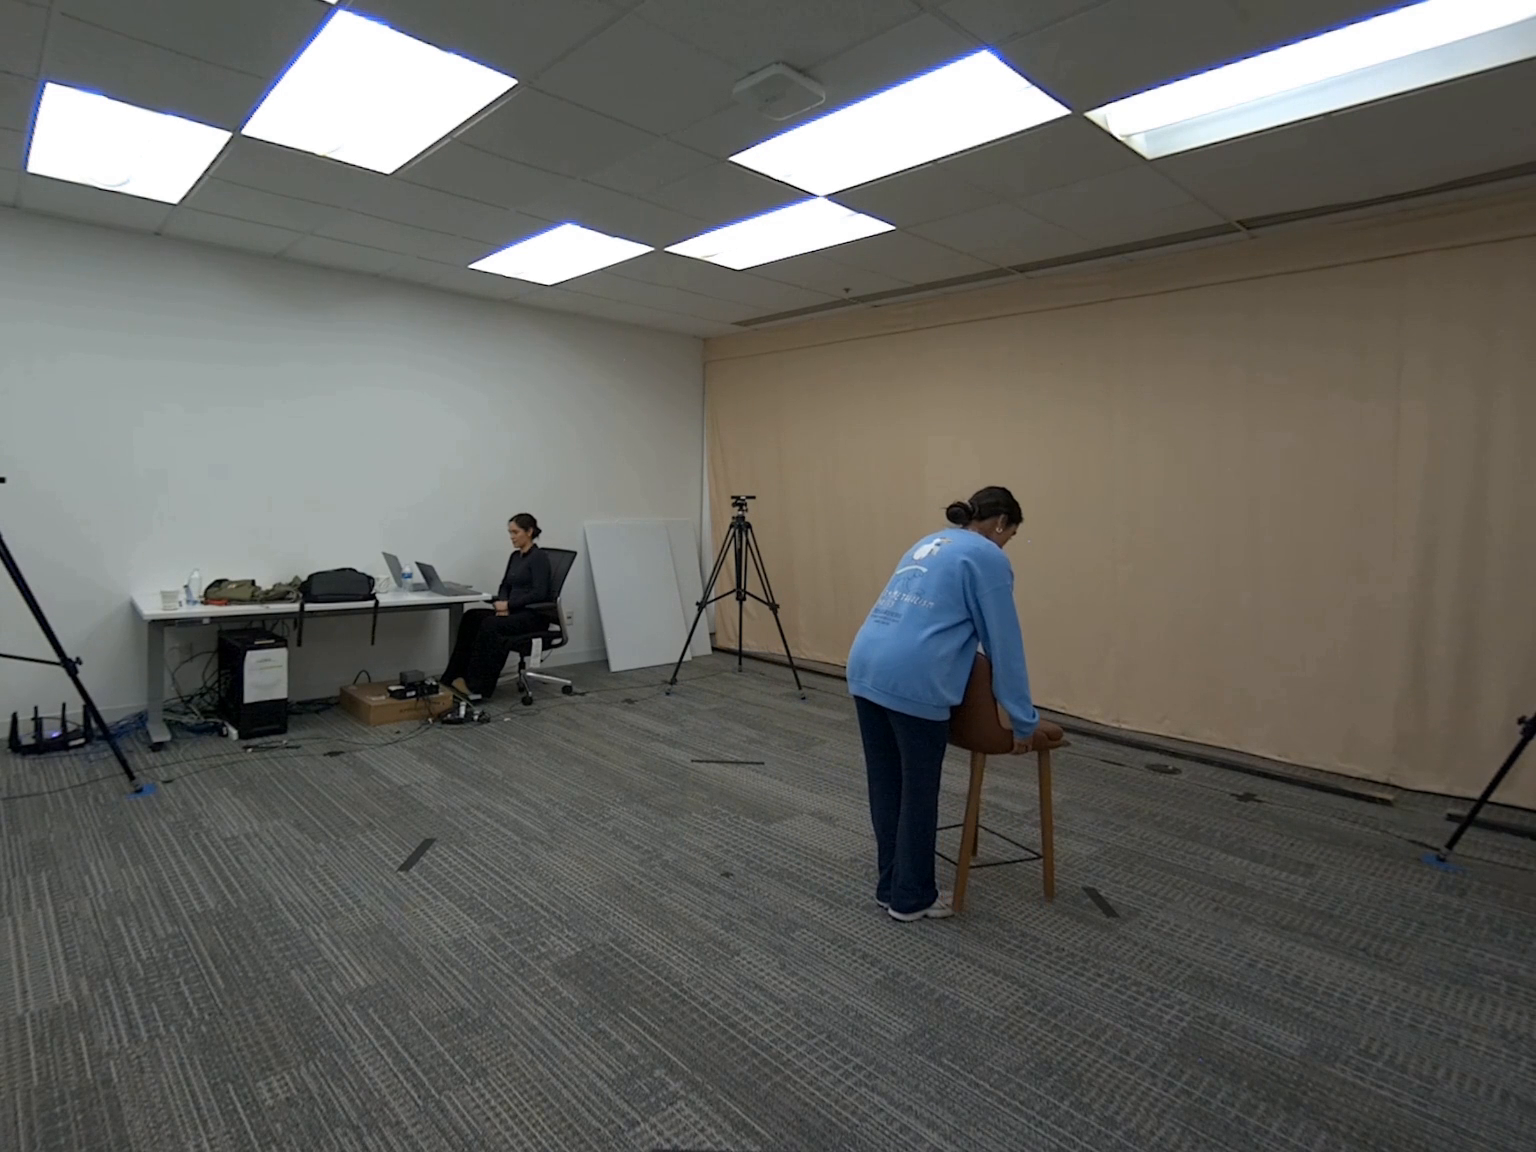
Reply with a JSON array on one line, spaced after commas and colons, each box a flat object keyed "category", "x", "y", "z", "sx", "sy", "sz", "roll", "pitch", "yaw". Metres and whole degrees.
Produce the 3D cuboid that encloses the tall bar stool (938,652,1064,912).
[{"category": "tall bar stool", "x": 0.748, "y": 0.672, "z": 3.018, "sx": 0.458, "sy": 0.888, "sz": 0.467, "roll": 1, "pitch": 3, "yaw": -30}]
